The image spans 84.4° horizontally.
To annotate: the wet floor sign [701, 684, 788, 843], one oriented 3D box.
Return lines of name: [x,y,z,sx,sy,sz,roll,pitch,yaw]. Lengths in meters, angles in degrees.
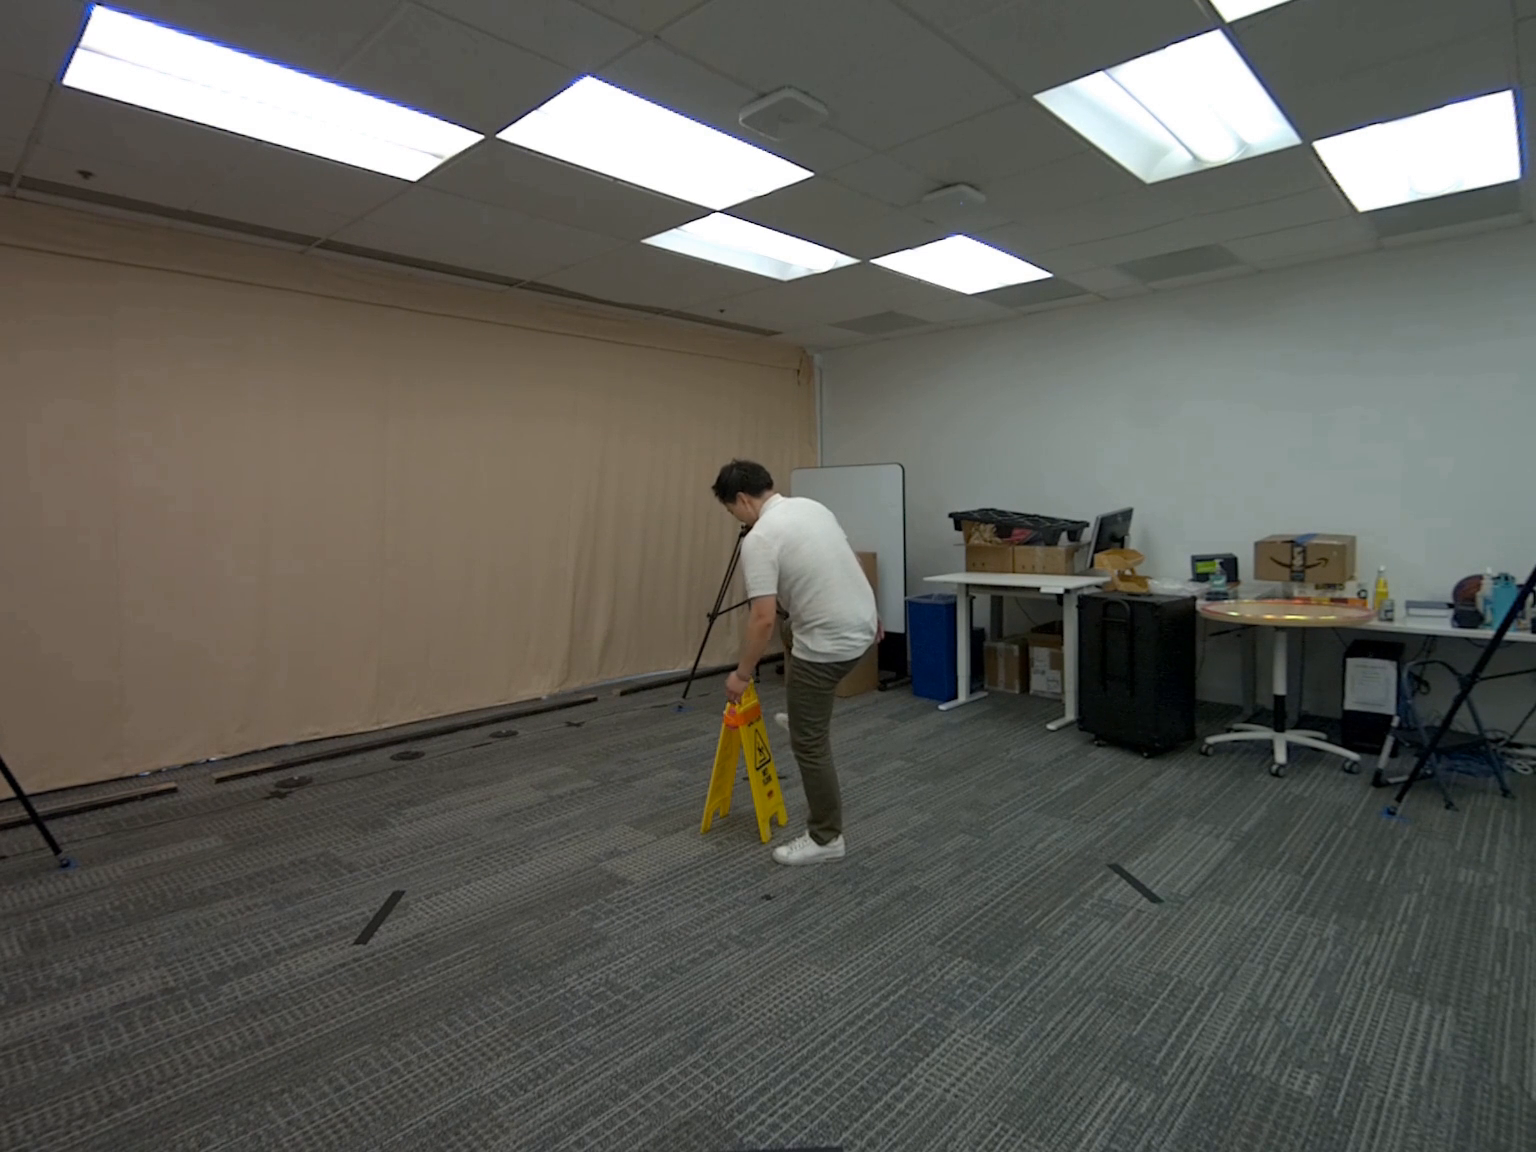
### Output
wet floor sign: [-0.109,0.765,3.622,0.296,0.645,0.276,0,2,22]
